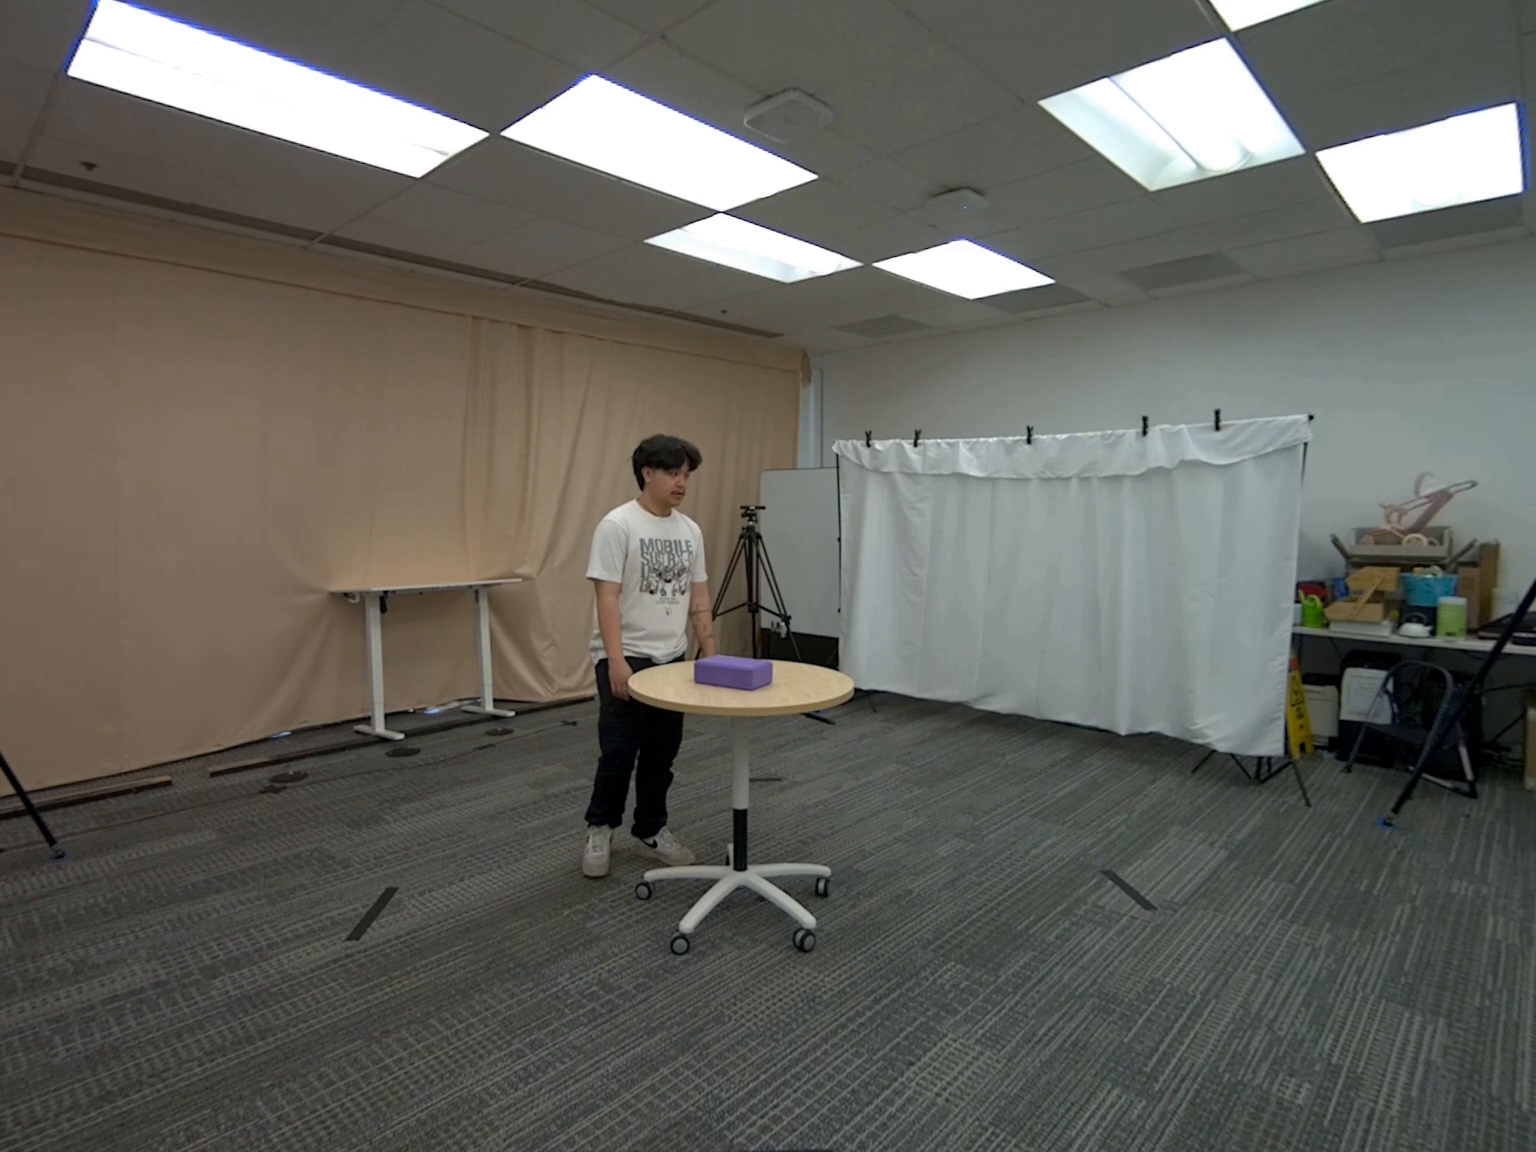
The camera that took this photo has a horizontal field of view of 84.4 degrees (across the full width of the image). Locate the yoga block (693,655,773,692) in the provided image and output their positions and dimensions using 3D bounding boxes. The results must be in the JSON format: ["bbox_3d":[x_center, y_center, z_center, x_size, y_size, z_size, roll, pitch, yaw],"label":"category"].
[{"bbox_3d":[-0.116,0.321,2.816,0.236,0.076,0.145,3,6,30],"label":"yoga block"}]
